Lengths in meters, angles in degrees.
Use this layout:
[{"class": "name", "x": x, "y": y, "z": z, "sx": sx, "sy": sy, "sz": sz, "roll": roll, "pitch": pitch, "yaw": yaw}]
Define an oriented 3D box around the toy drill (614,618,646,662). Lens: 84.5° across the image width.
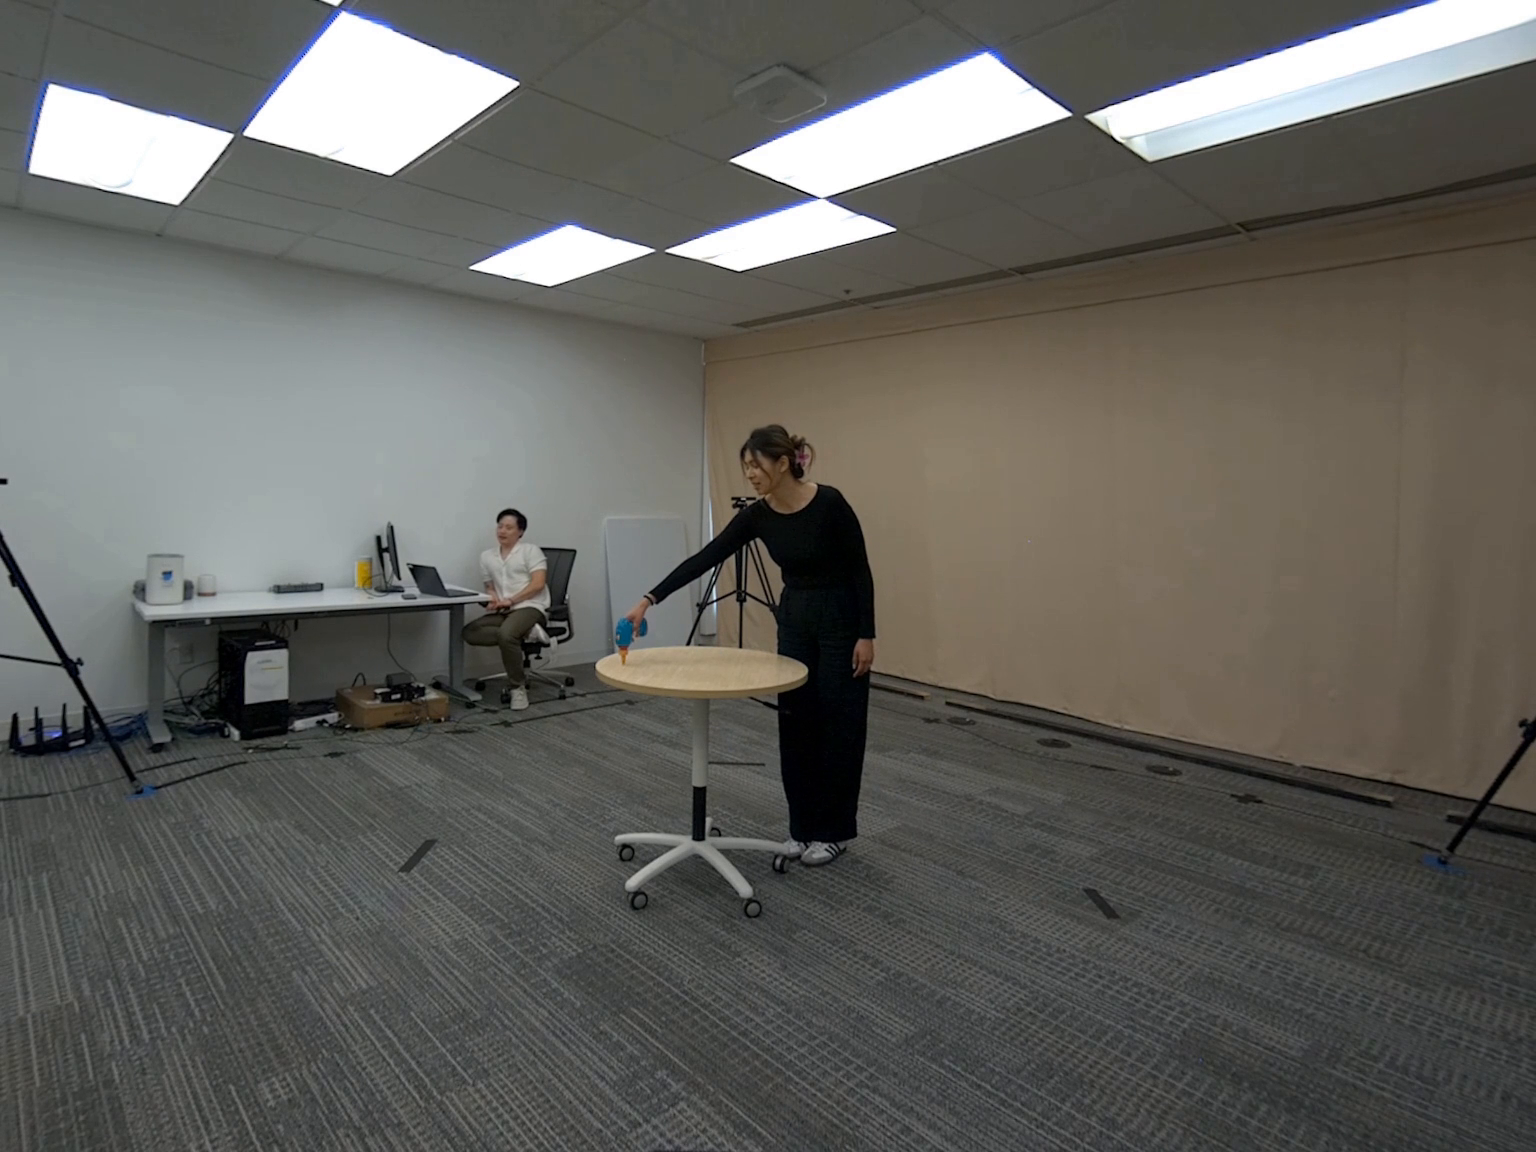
[{"class": "toy drill", "x": -0.512, "y": 0.233, "z": 3.054, "sx": 0.062, "sy": 0.169, "sz": 0.144, "roll": -4, "pitch": 3, "yaw": 23}]
